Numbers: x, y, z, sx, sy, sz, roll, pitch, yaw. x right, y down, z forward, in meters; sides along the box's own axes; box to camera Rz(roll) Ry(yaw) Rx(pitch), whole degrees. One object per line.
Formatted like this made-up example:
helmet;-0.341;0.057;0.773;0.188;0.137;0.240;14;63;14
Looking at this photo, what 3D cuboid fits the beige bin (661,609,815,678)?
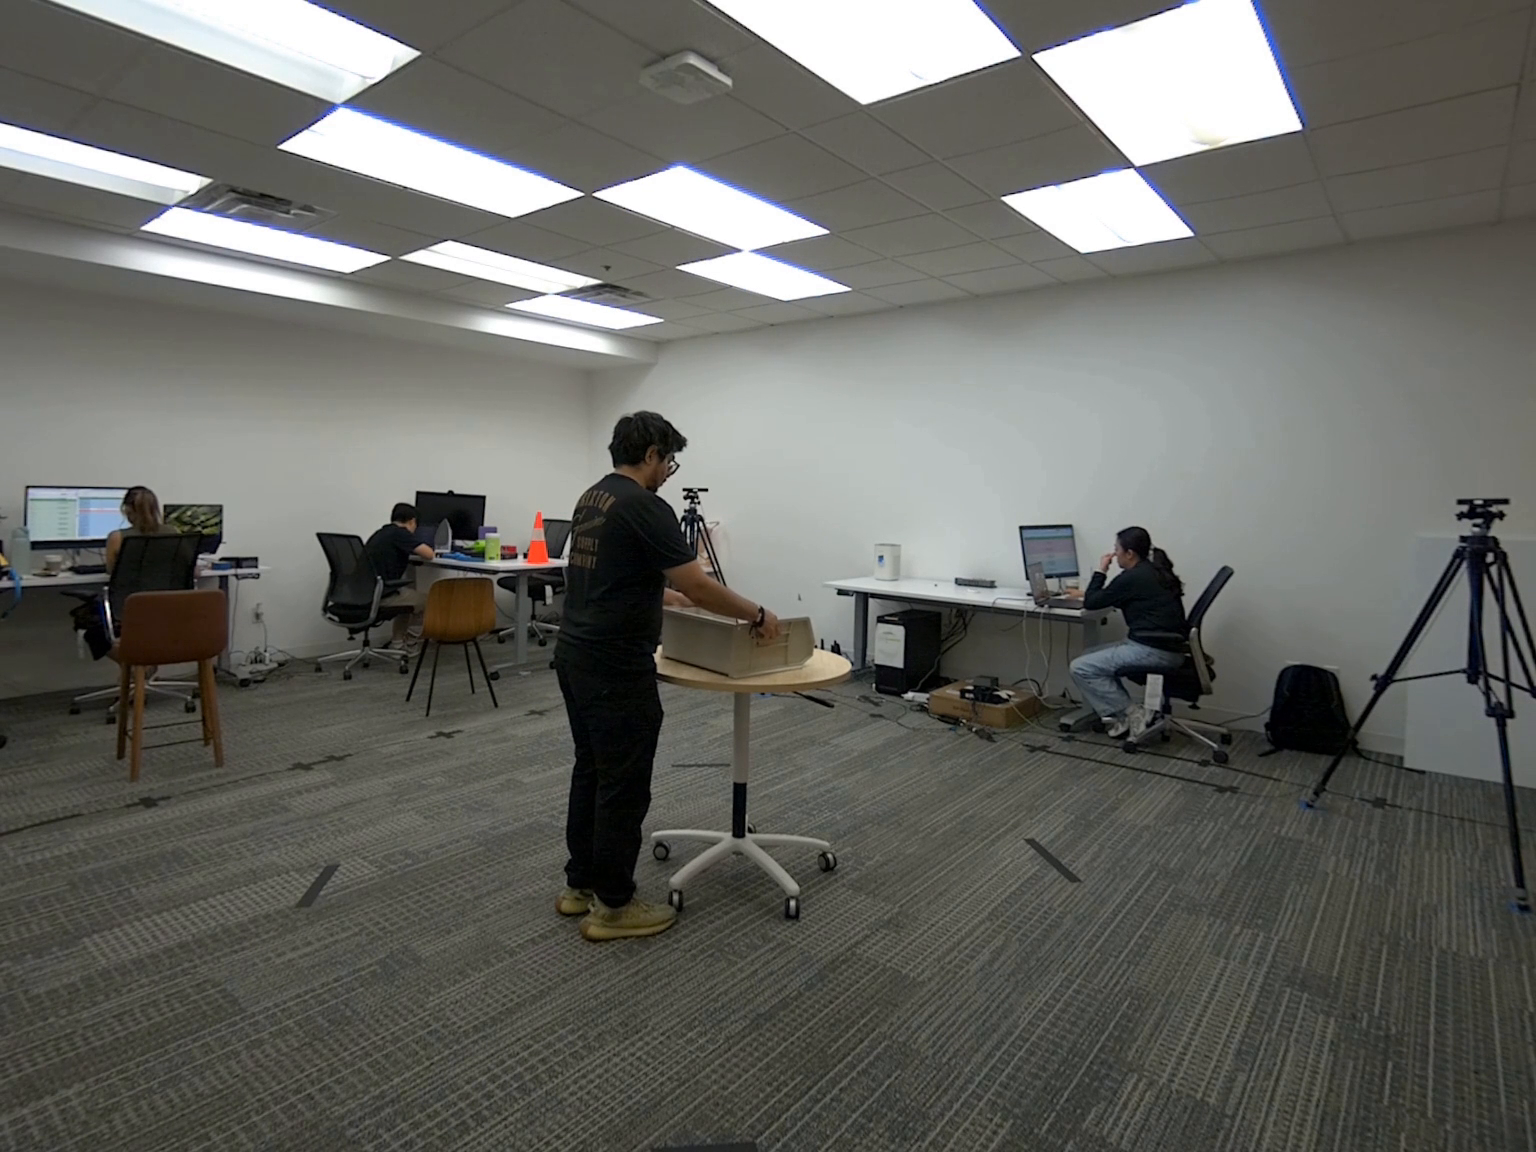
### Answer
beige bin;-0.126;0.211;2.978;0.366;0.188;0.437;-4;8;-41
